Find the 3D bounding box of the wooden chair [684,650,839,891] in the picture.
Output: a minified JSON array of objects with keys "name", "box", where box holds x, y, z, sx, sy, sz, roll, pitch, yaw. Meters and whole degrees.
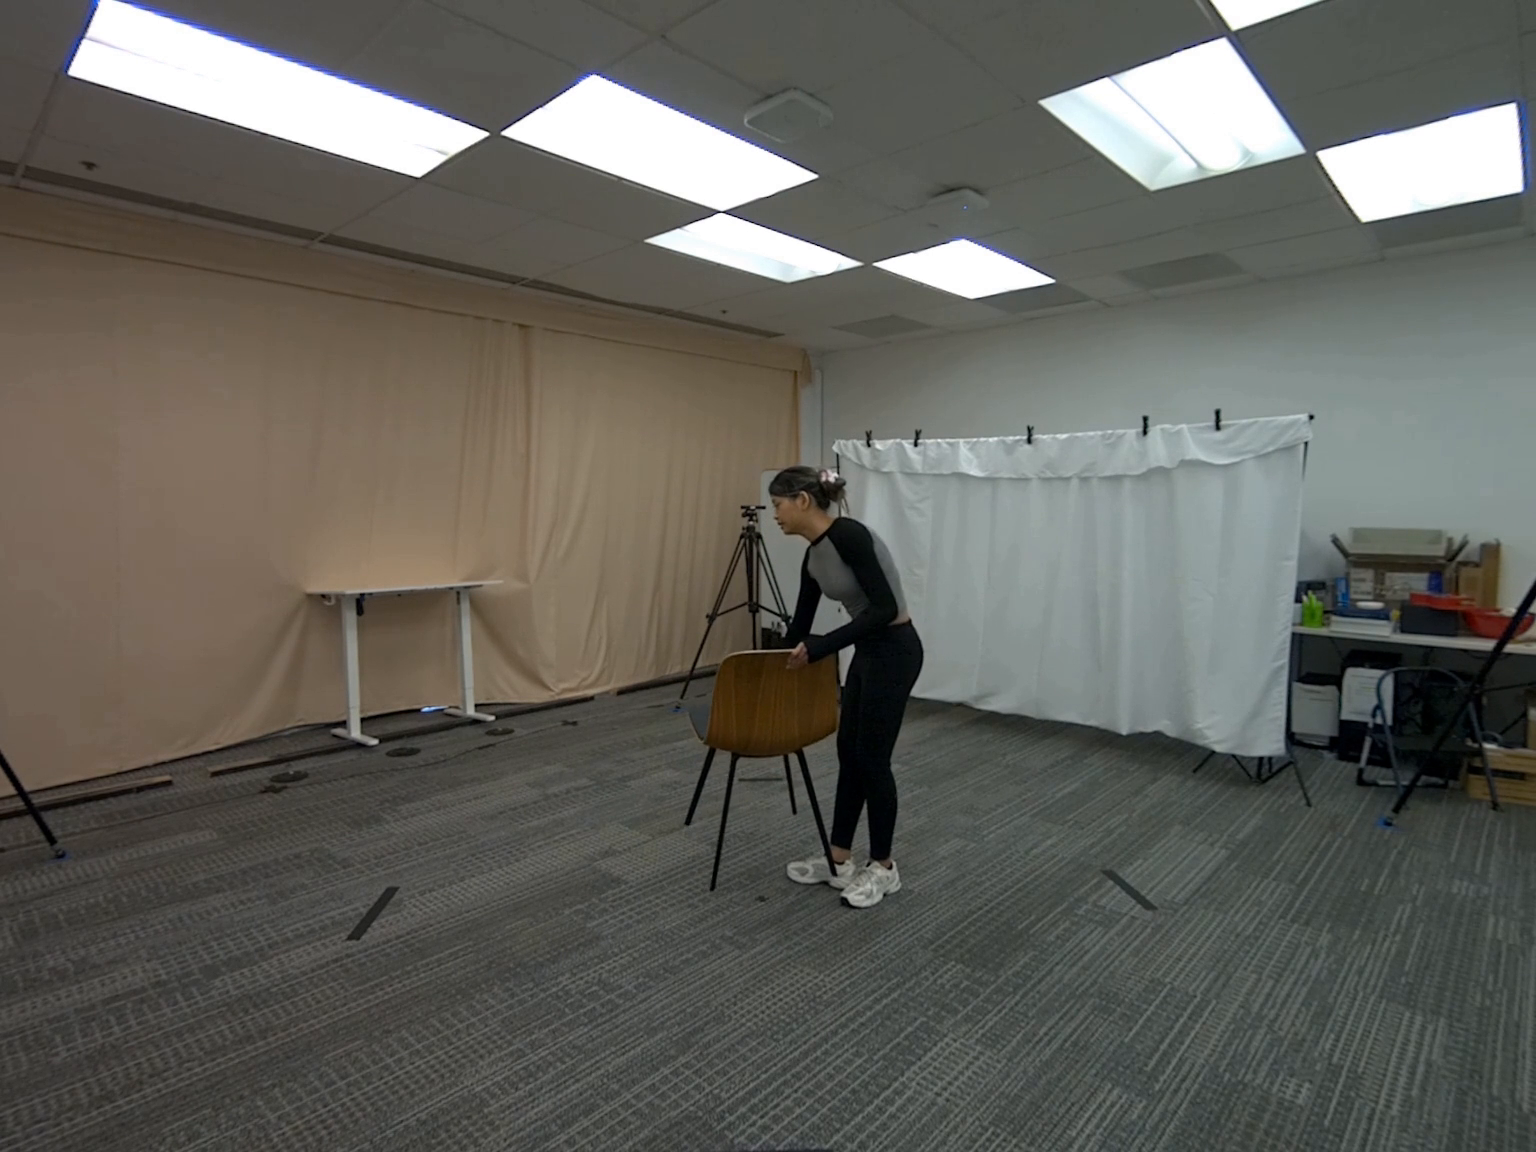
[{"name":"wooden chair","box":[-0.030,0.584,2.999,0.471,0.870,0.535,-1,15,-15]}]
